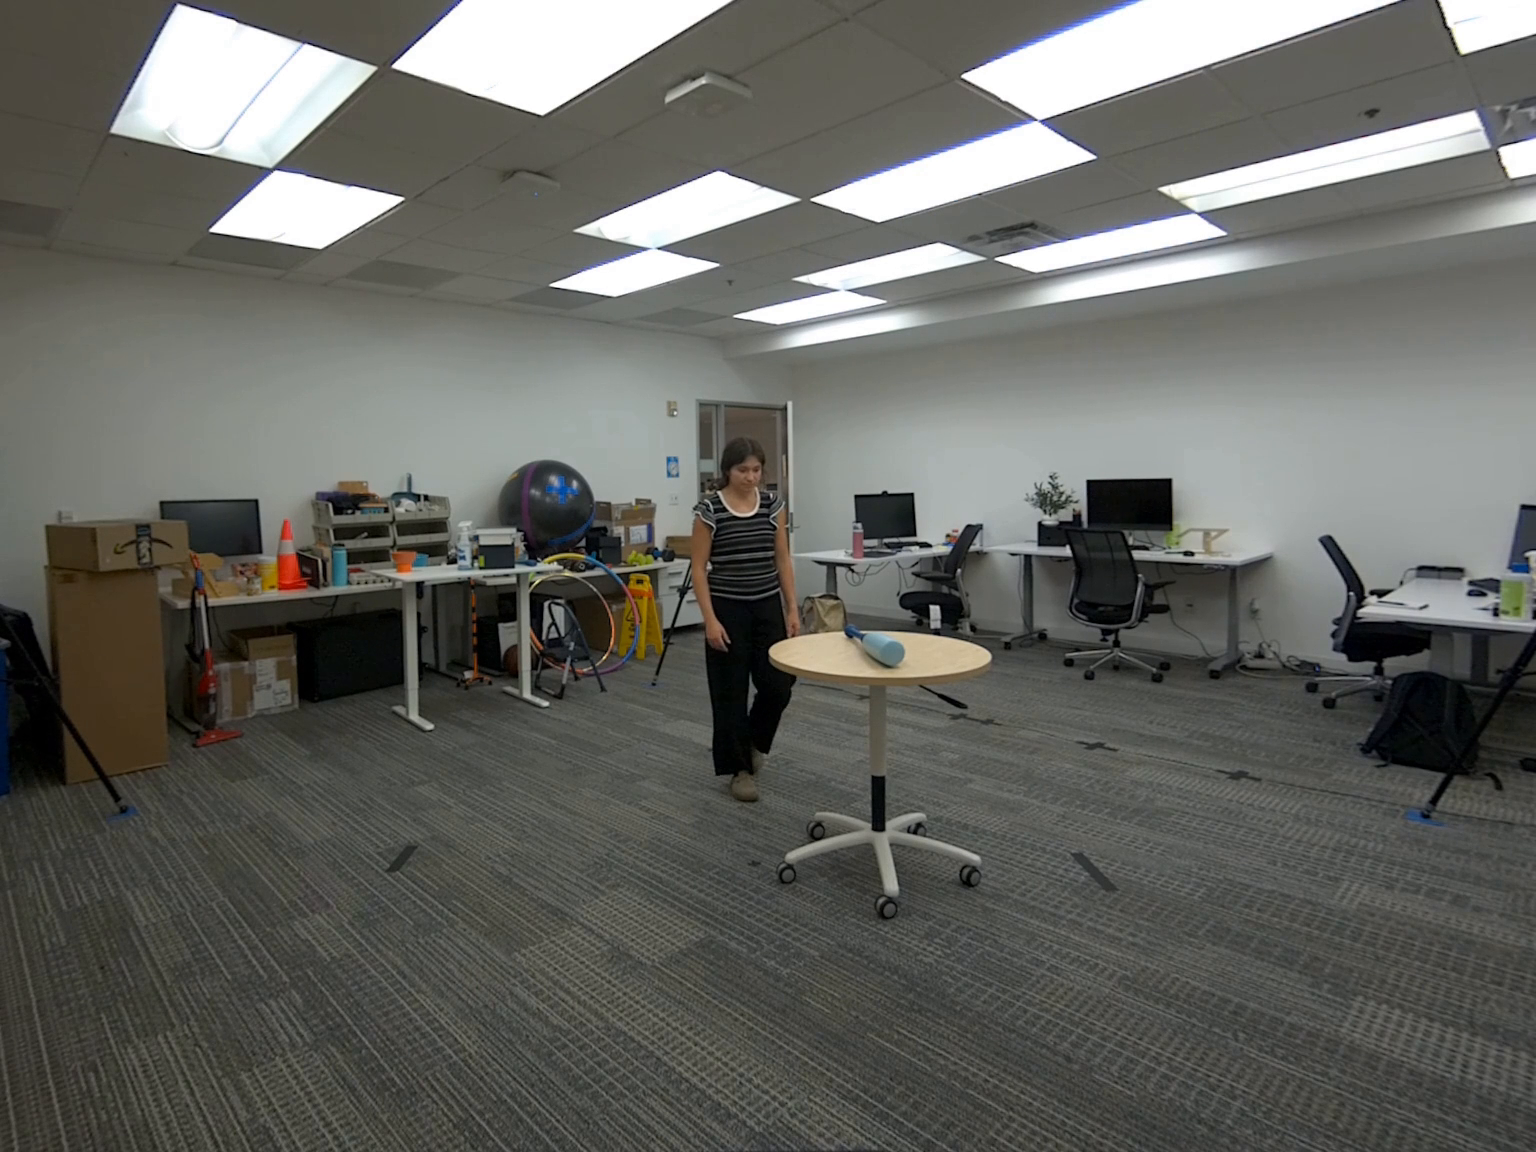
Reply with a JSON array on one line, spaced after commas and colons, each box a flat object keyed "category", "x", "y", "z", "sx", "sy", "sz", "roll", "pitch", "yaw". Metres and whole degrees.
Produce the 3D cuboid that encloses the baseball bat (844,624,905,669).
[{"category": "baseball bat", "x": 0.365, "y": 0.231, "z": 2.991, "sx": 0.088, "sy": 0.089, "sz": 0.548, "roll": -2, "pitch": 4, "yaw": -9}]
